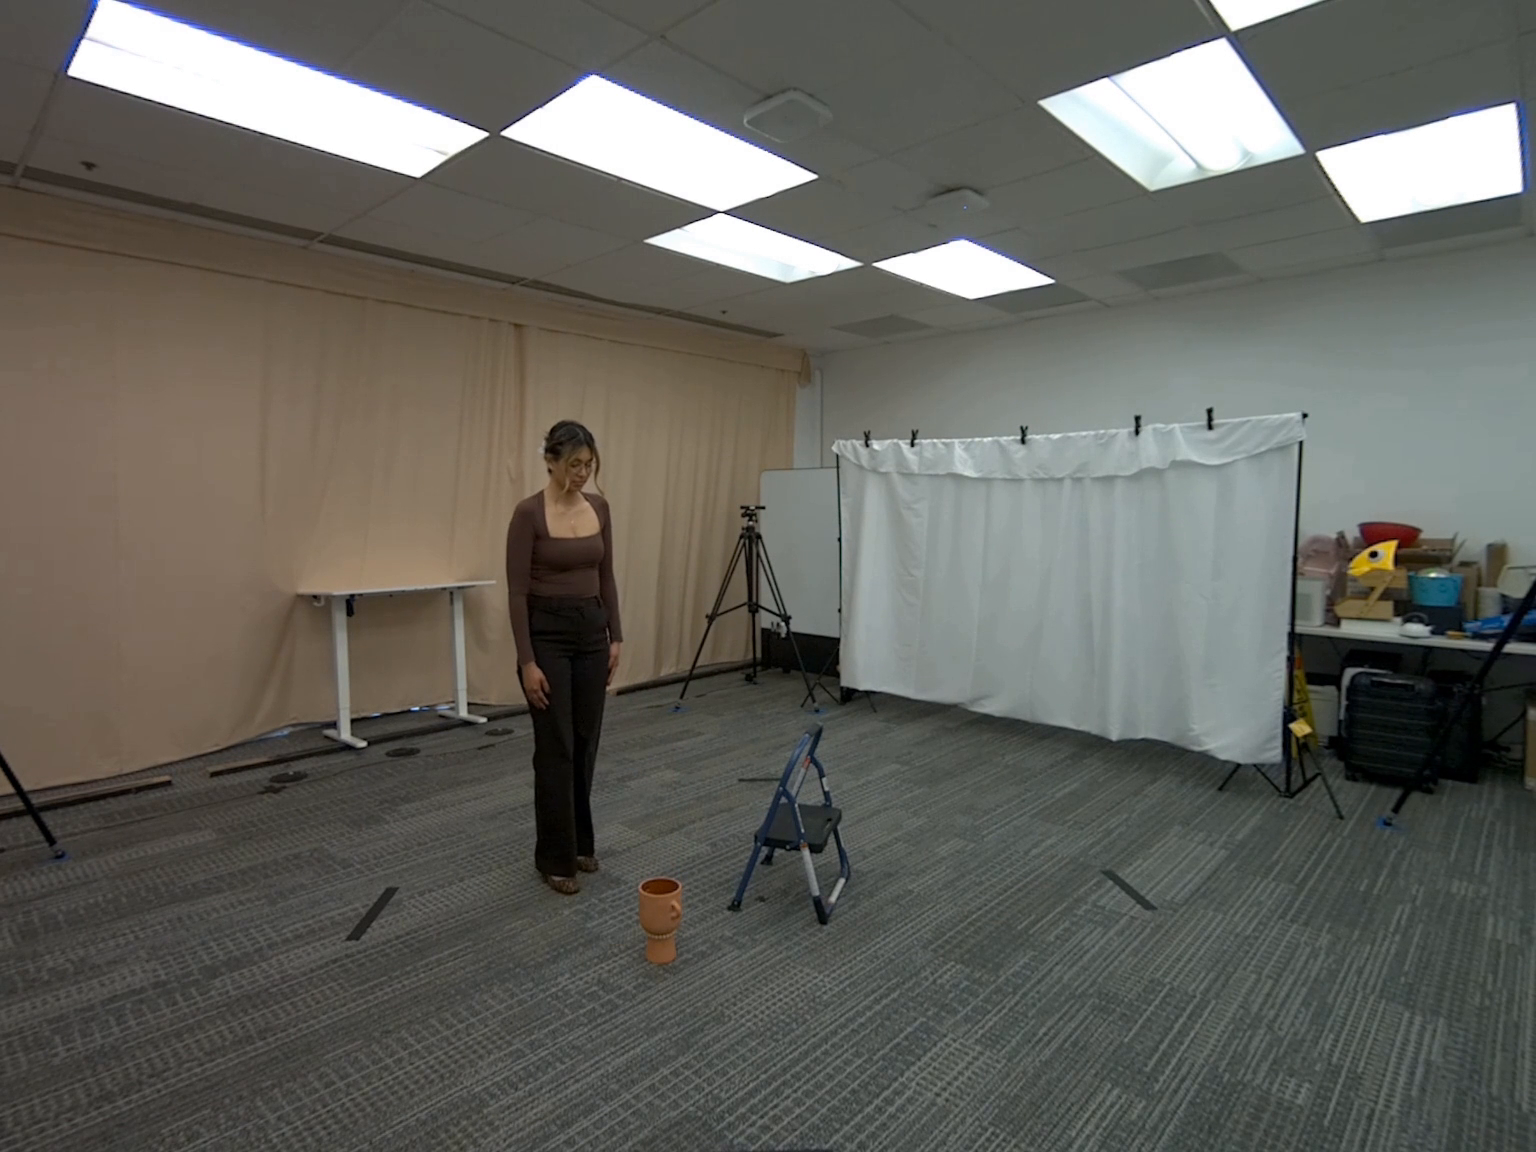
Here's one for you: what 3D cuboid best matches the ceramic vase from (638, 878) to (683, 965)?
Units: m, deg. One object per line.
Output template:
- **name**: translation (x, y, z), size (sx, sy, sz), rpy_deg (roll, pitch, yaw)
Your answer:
- **ceramic vase**: translation (-0.332, 1.067, 2.597), size (0.134, 0.219, 0.160), rpy_deg (-1, 3, -4)
